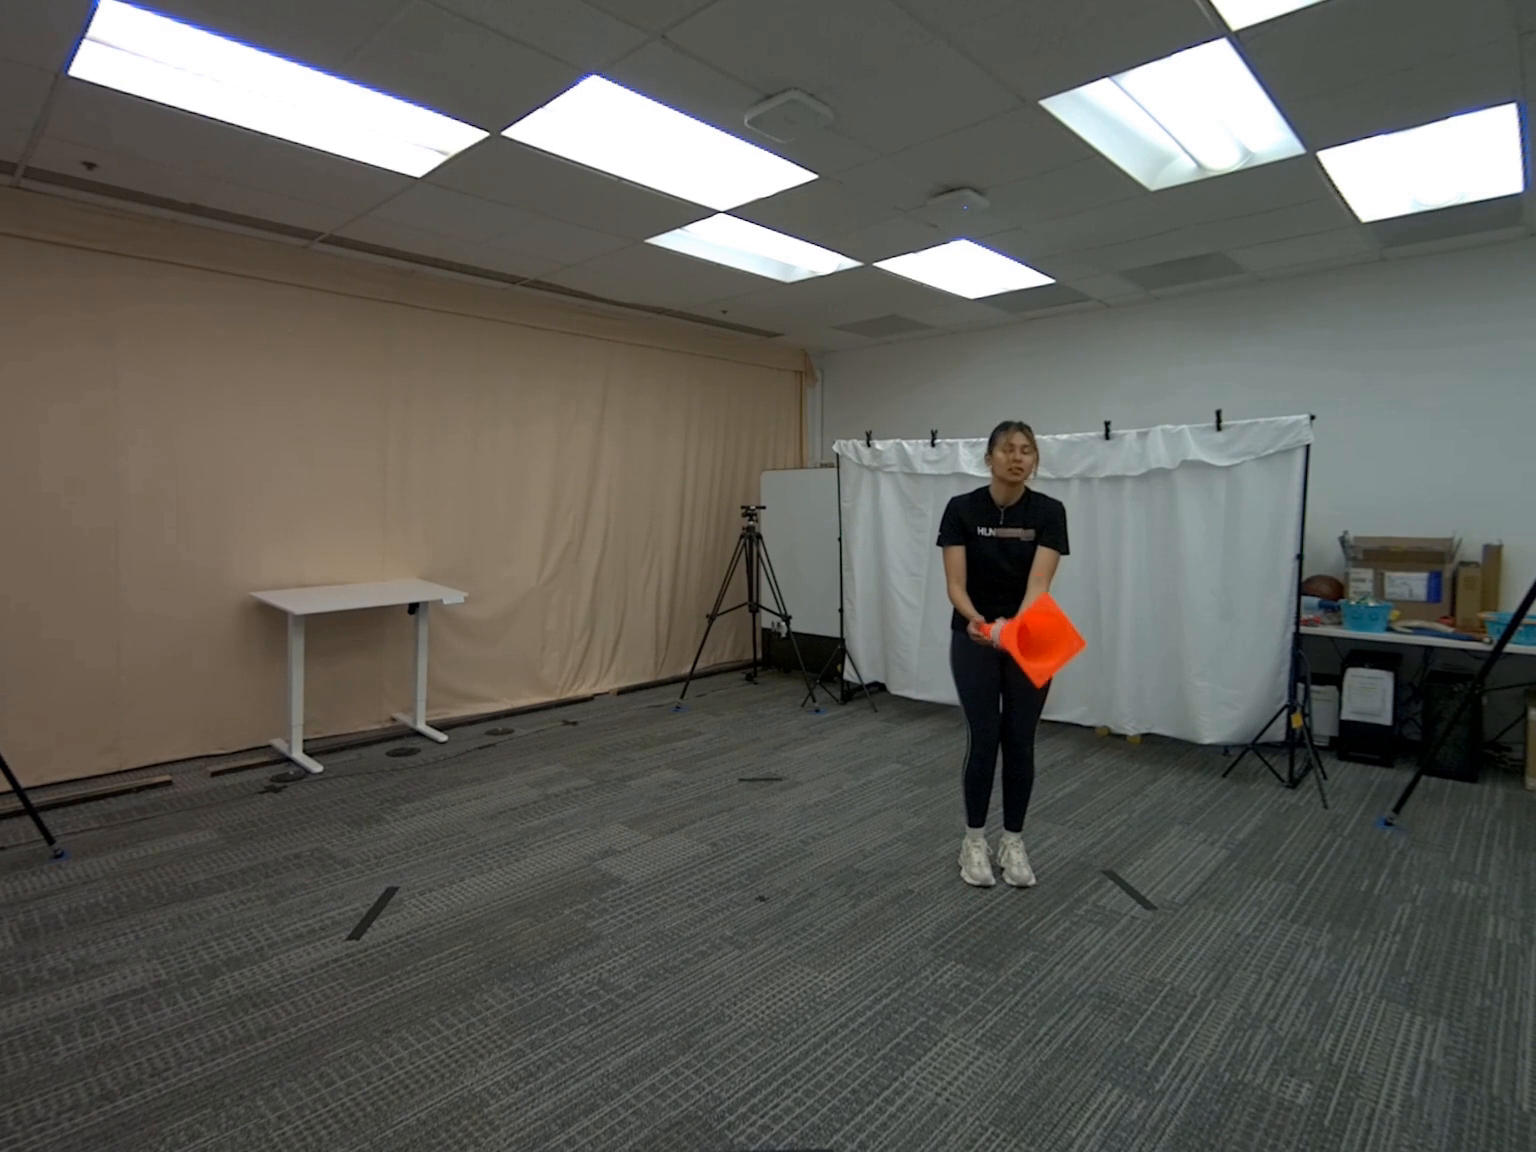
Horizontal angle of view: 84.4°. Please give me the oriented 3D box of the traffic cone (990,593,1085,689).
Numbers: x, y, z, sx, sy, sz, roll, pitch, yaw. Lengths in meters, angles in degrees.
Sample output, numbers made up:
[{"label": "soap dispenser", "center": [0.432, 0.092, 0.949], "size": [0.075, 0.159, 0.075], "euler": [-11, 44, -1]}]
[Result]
[{"label": "traffic cone", "center": [0.756, 0.191, 2.613], "size": [0.204, 0.202, 0.387], "euler": [-43, 6, -11]}]
